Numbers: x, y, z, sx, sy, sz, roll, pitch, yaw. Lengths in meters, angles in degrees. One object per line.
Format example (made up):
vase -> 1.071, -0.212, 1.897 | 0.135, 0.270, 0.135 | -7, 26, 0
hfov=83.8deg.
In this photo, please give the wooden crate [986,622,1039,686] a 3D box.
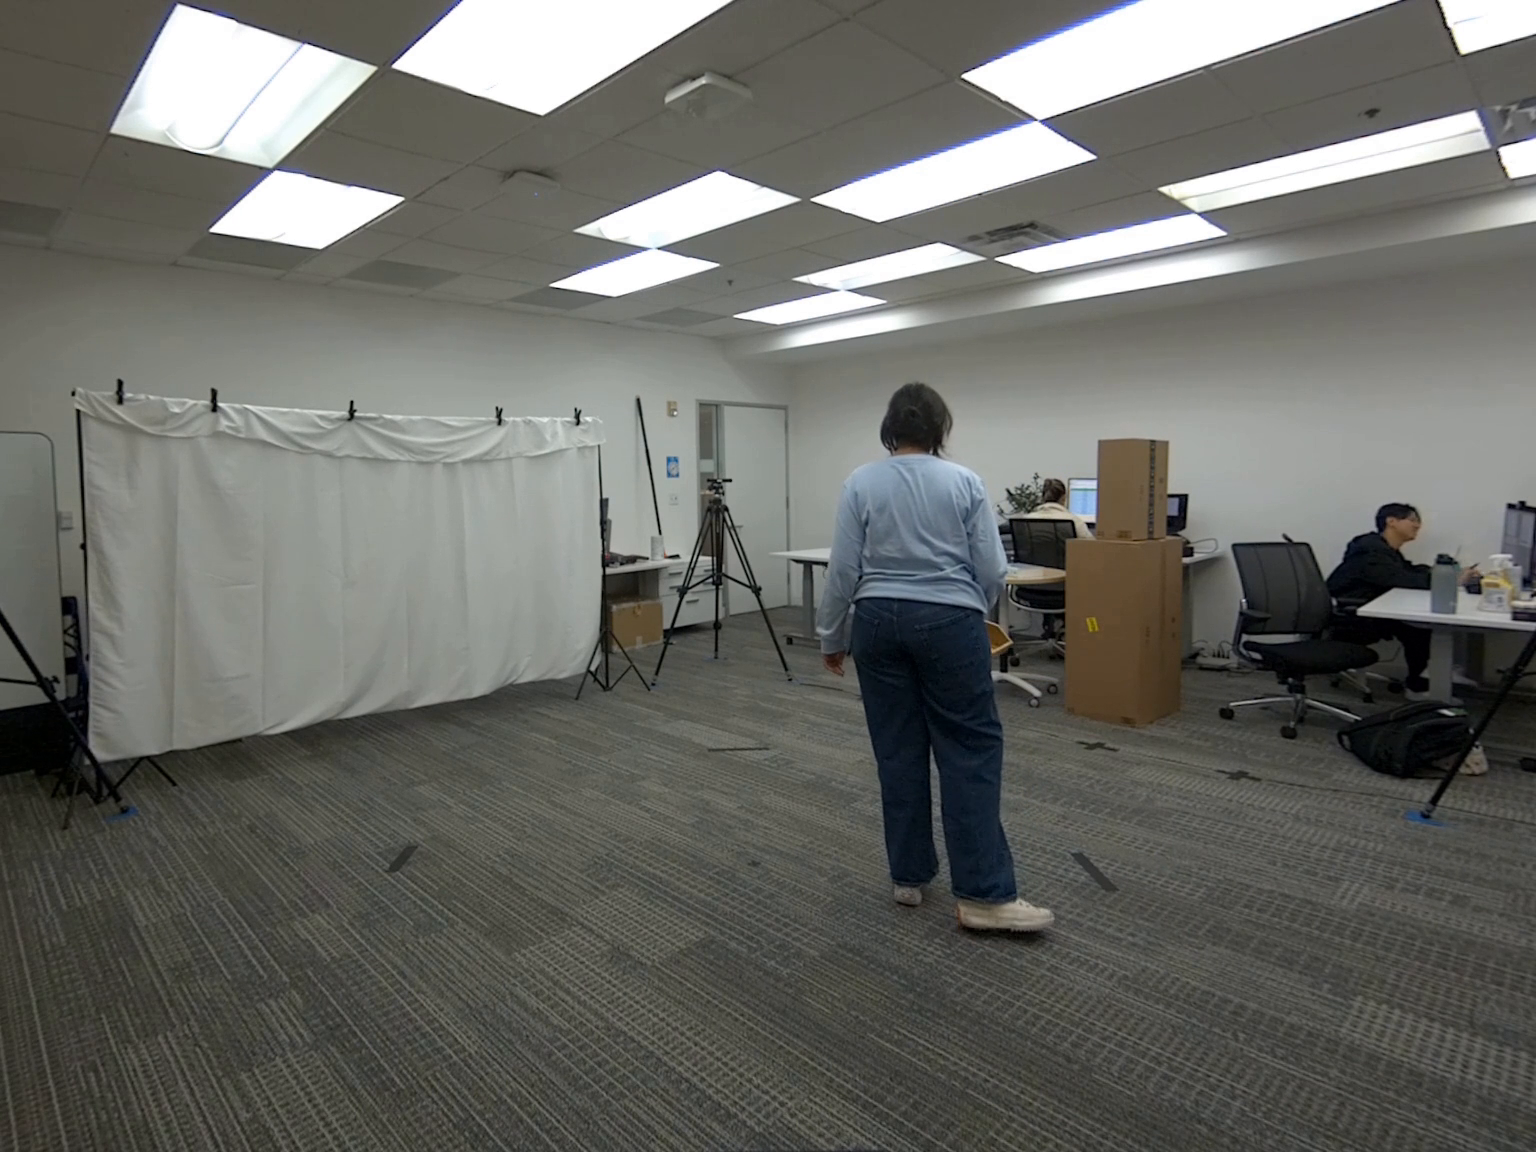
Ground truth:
wooden crate -> 0.700, 0.140, 3.061 | 0.313, 0.270, 0.317 | 19, 22, 36
